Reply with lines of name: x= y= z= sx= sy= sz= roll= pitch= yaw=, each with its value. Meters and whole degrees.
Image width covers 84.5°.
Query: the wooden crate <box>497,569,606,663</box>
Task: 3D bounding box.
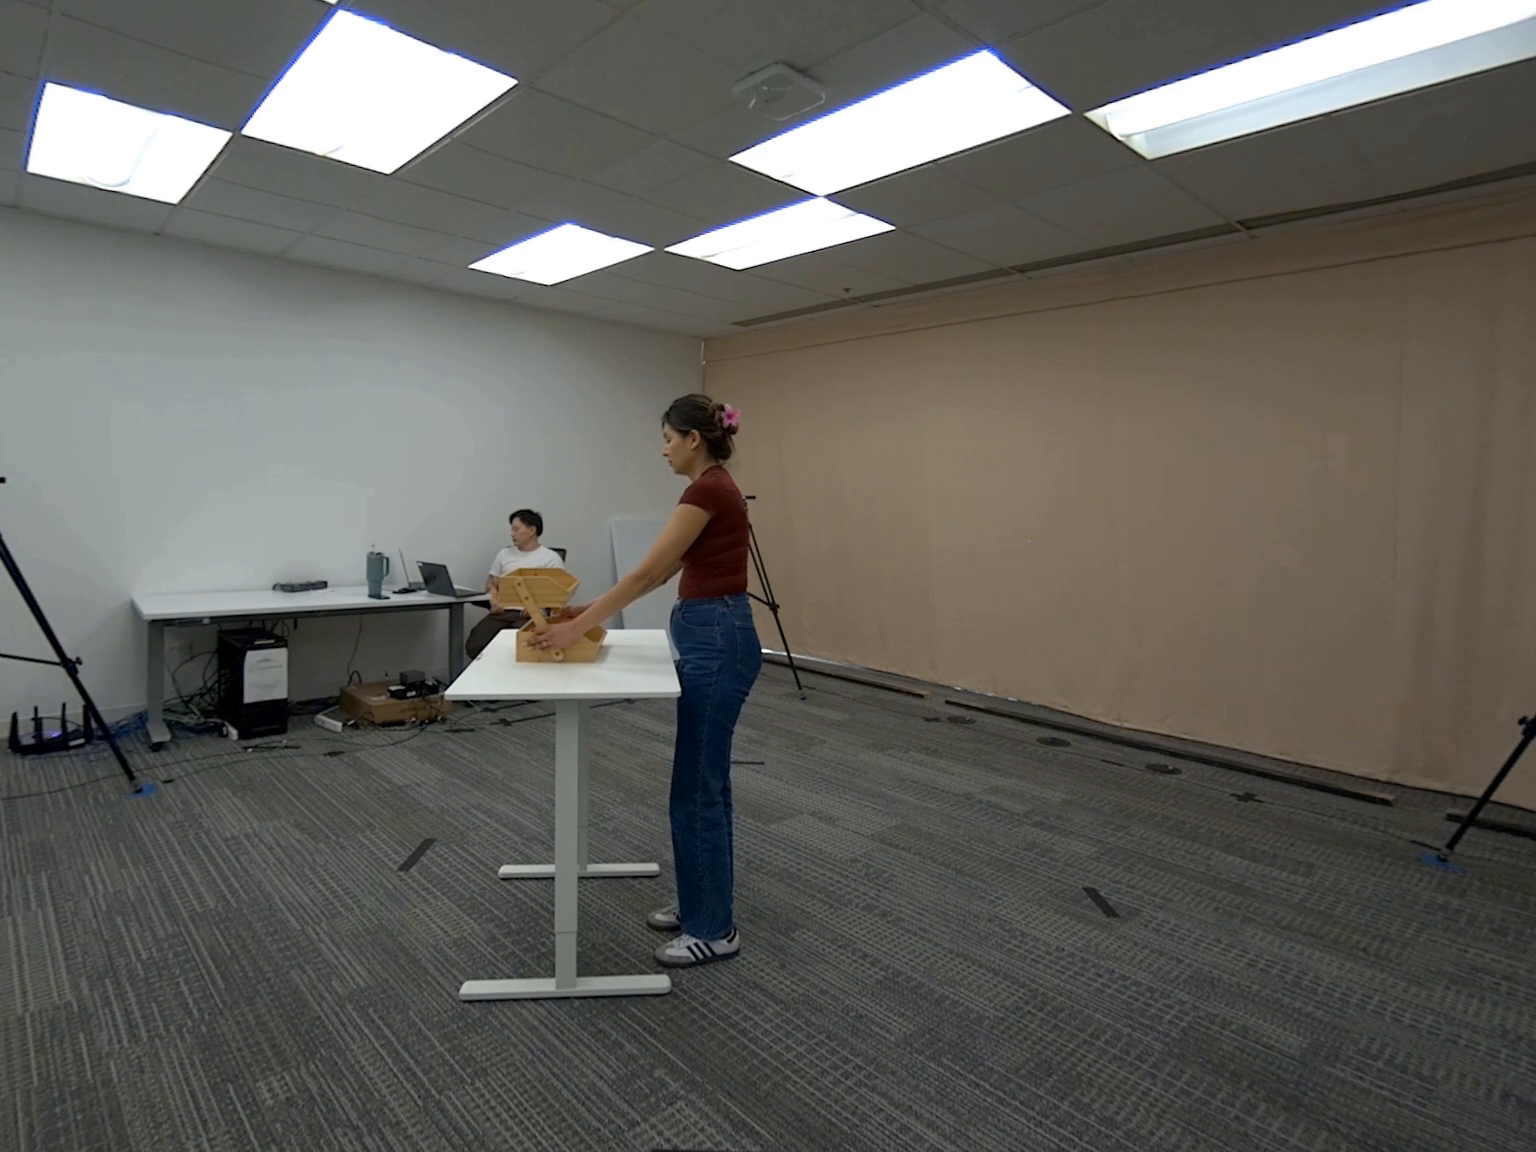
wooden crate: x=-0.677 y=0.116 z=2.685 sx=0.301 sy=0.272 sz=0.327 roll=0 pitch=5 yaw=-6
